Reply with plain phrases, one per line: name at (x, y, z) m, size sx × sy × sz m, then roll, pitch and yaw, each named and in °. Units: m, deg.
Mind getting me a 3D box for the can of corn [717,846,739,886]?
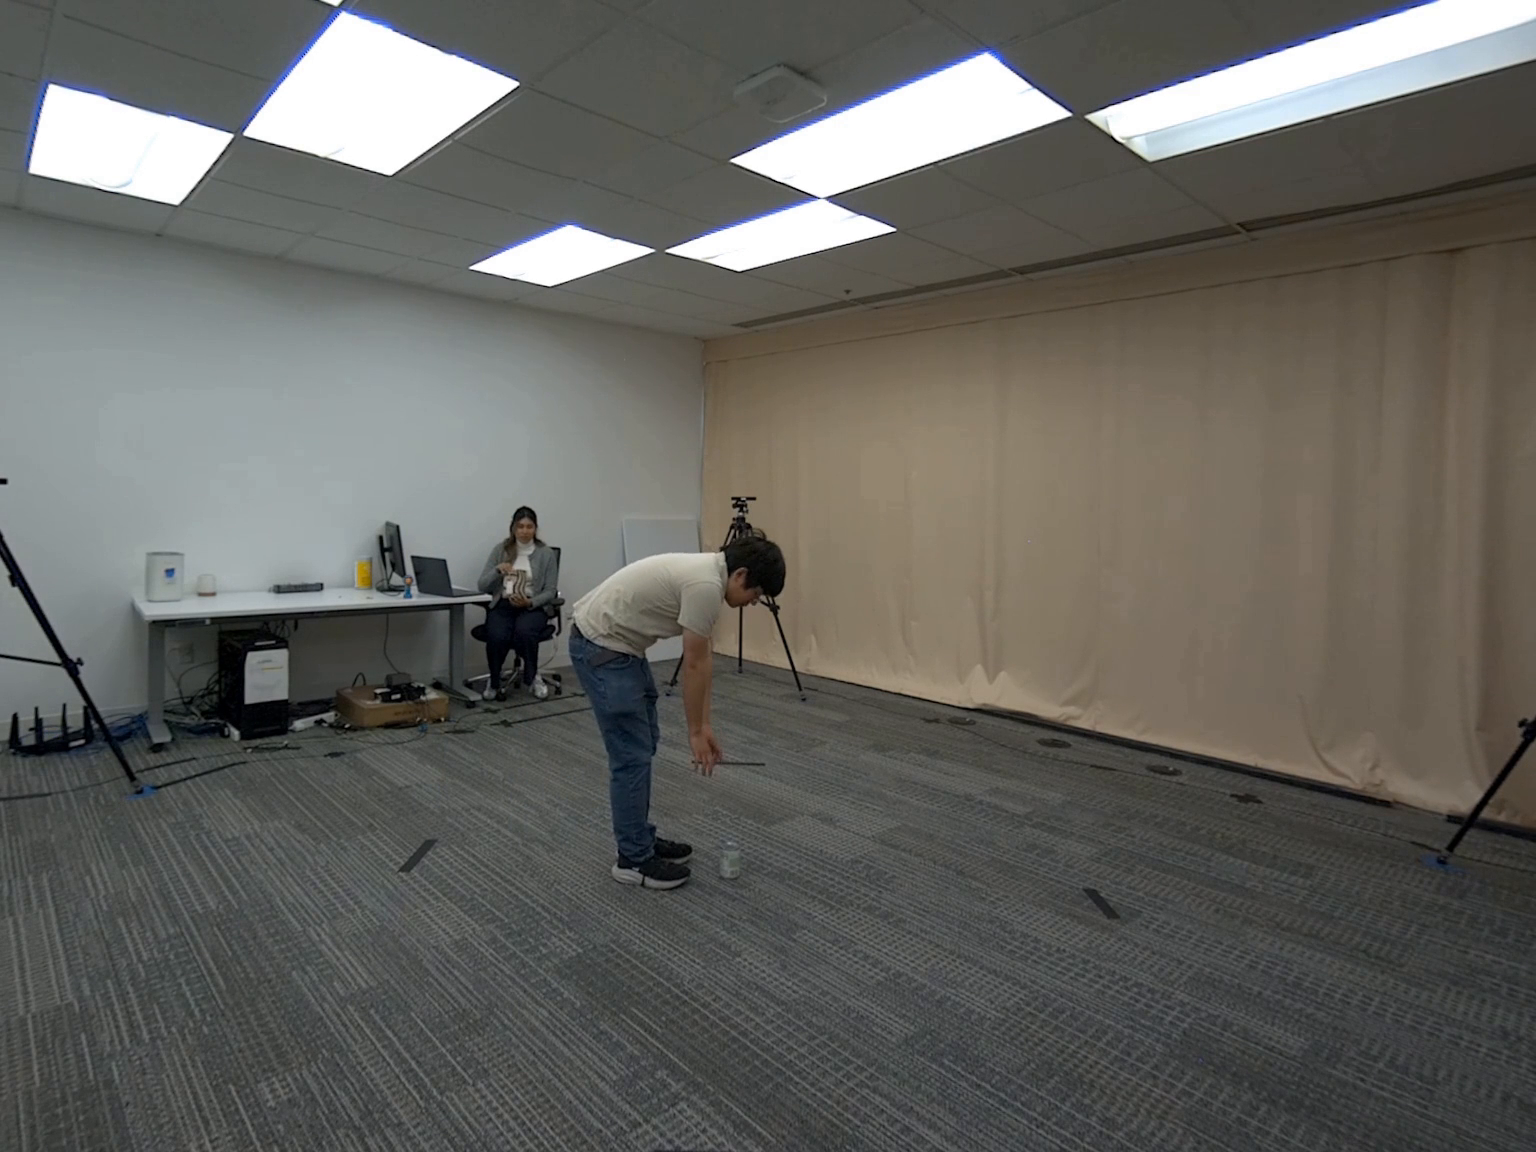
can of corn at (-0.148, 1.060, 3.102) m, size 0.074 × 0.110 × 0.074 m, roll 2°, pitch 6°, yaw -2°
